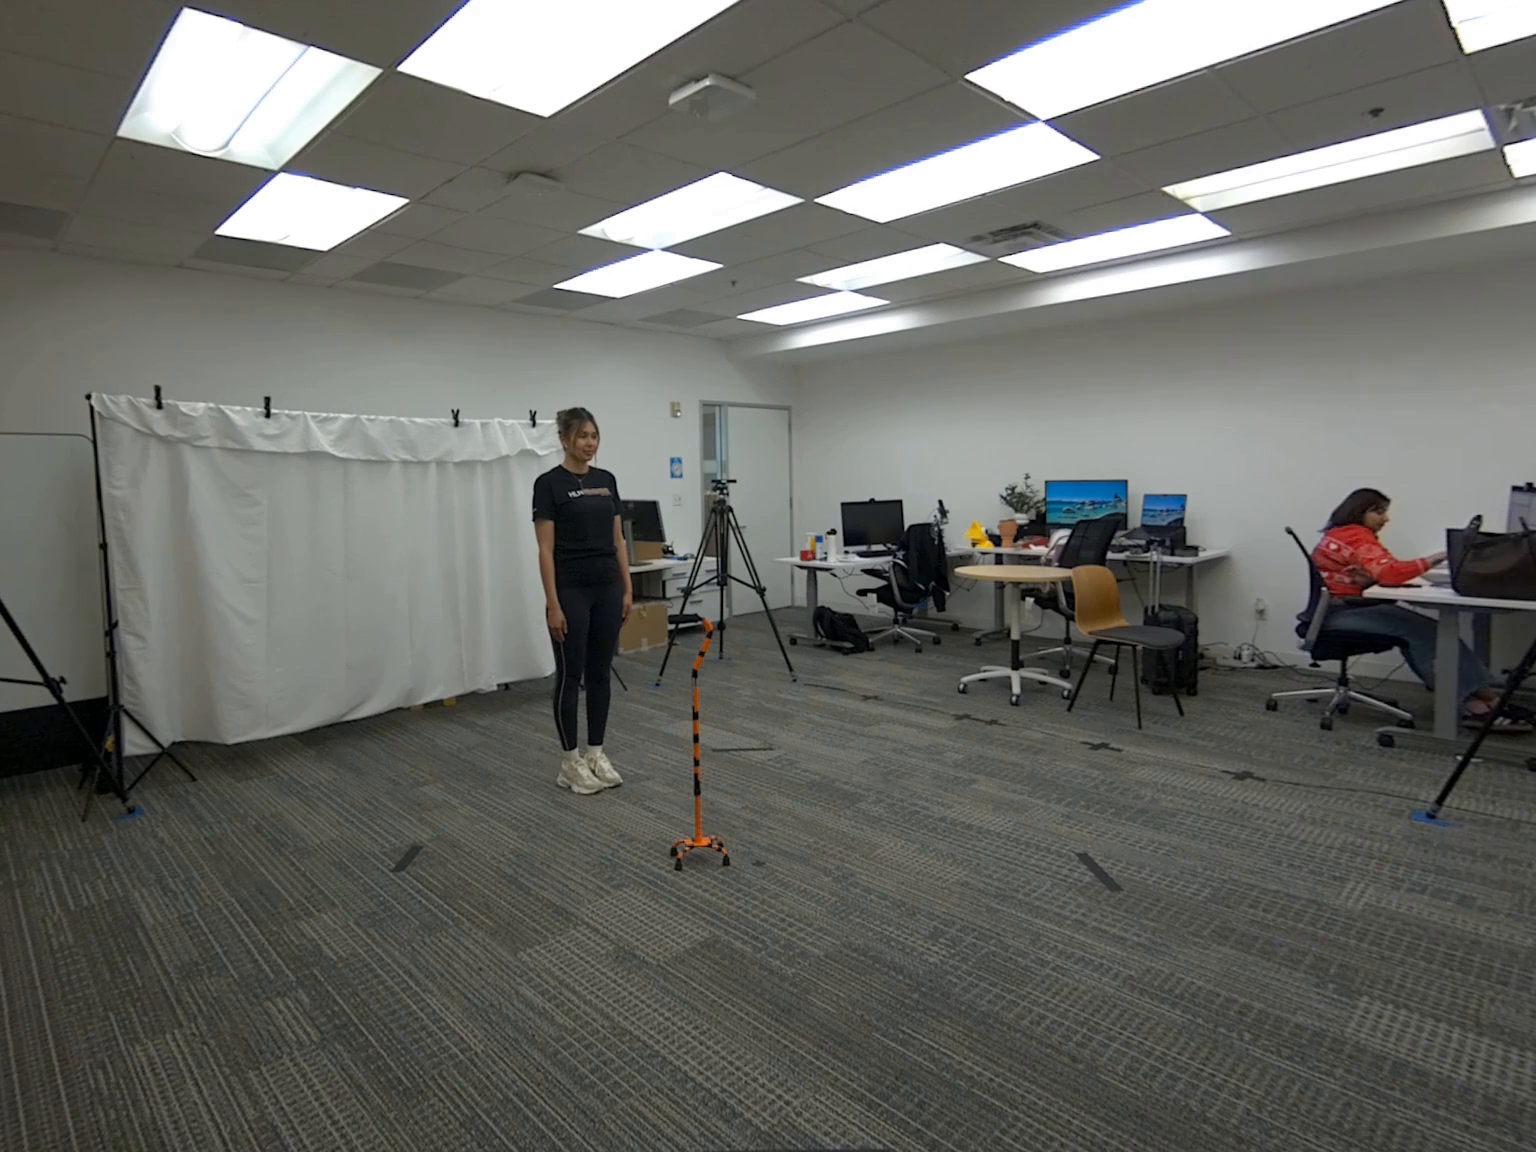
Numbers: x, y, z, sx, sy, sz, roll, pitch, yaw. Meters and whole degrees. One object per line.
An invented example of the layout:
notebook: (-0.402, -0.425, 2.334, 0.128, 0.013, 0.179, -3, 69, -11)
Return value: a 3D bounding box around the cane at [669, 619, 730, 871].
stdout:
cane: (-0.258, 0.596, 3.125, 0.204, 0.905, 0.154, -2, 3, -13)
